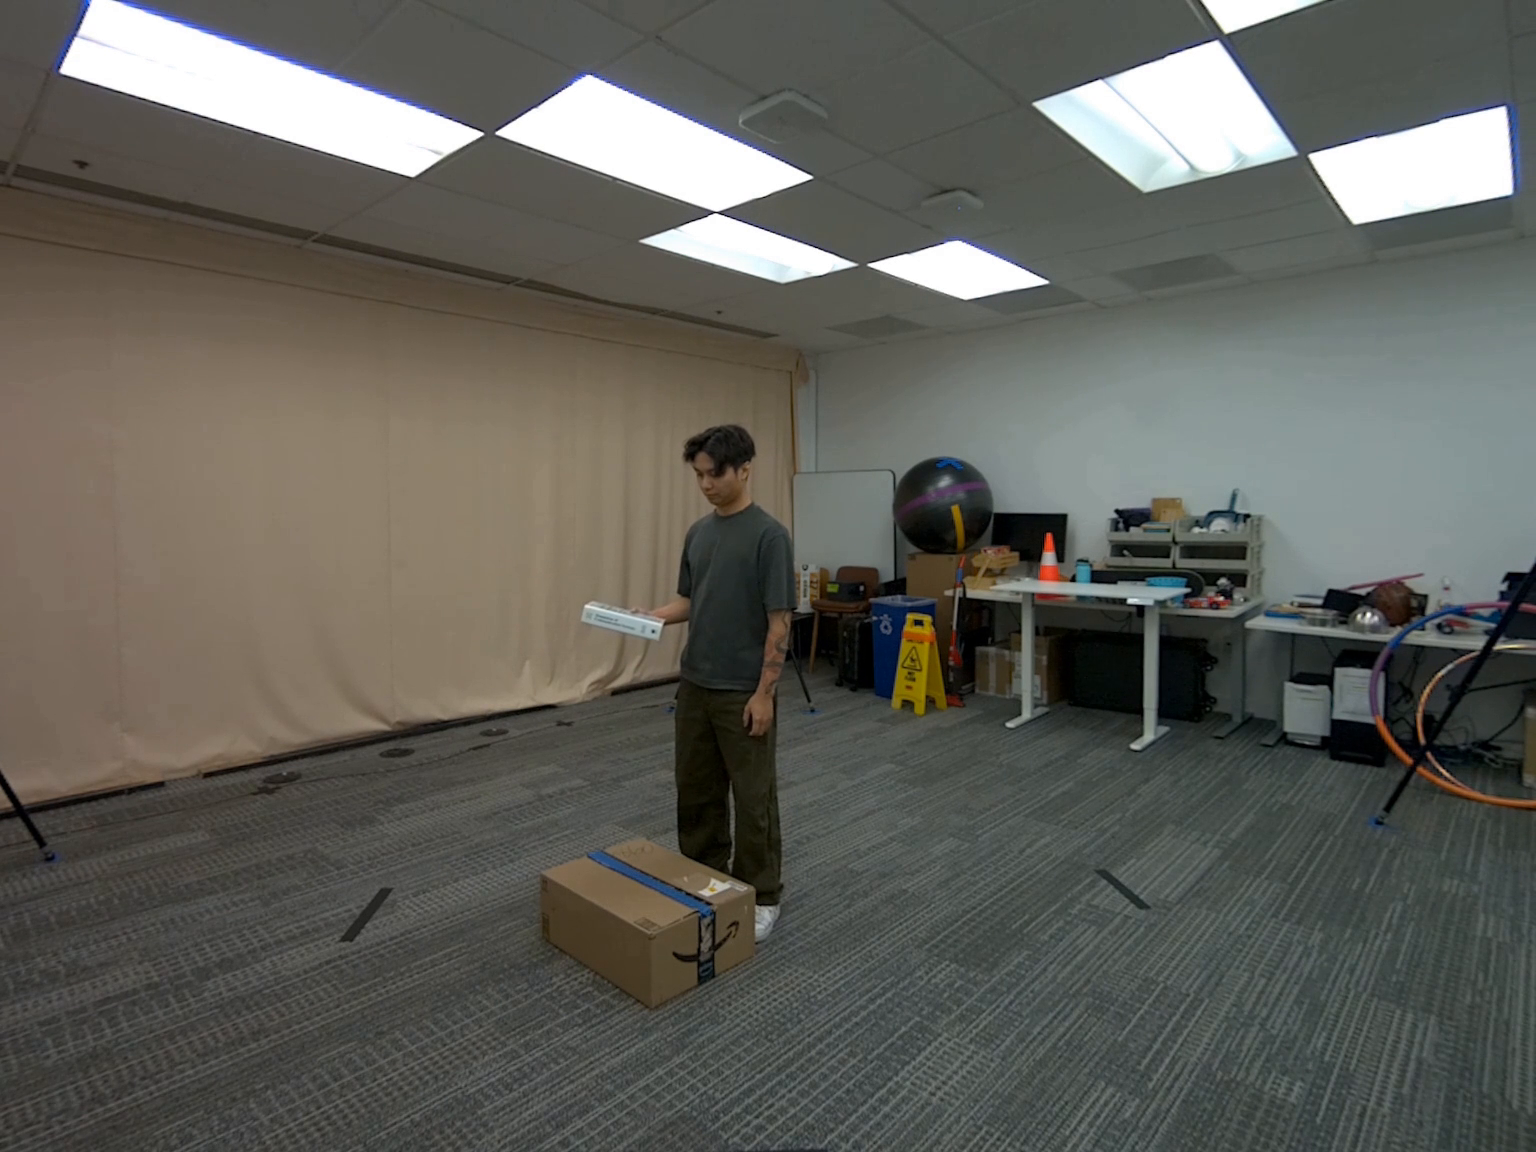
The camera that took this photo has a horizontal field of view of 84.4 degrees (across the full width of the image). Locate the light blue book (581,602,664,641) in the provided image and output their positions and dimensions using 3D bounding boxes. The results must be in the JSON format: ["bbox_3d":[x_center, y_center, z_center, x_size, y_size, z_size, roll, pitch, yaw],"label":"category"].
[{"bbox_3d":[-0.478,0.153,2.802,0.261,0.059,0.192,13,1,-2],"label":"light blue book"}]
